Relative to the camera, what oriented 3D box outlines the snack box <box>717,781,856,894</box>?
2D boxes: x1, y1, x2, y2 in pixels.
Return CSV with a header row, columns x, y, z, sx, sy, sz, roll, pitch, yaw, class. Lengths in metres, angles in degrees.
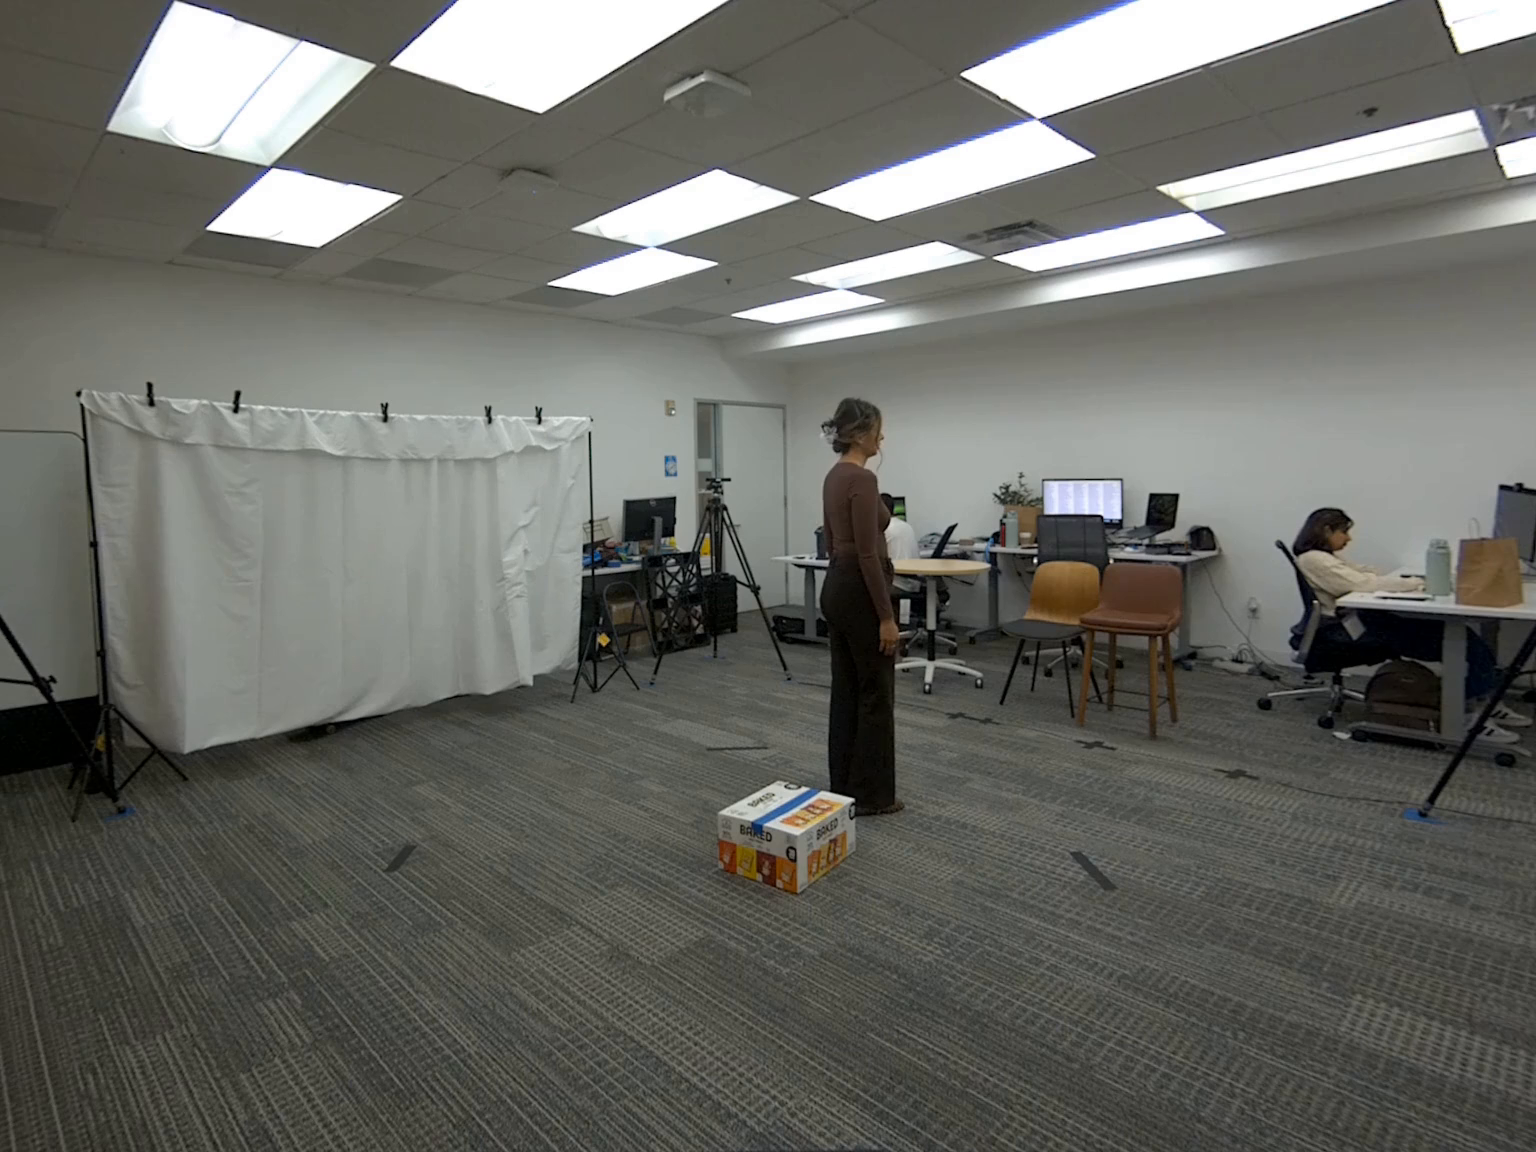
x,y,z,sx,sy,sz,roll,pitch,yaw,class
0.077,0.936,3.117,0.350,0.205,0.395,3,7,36,snack box
